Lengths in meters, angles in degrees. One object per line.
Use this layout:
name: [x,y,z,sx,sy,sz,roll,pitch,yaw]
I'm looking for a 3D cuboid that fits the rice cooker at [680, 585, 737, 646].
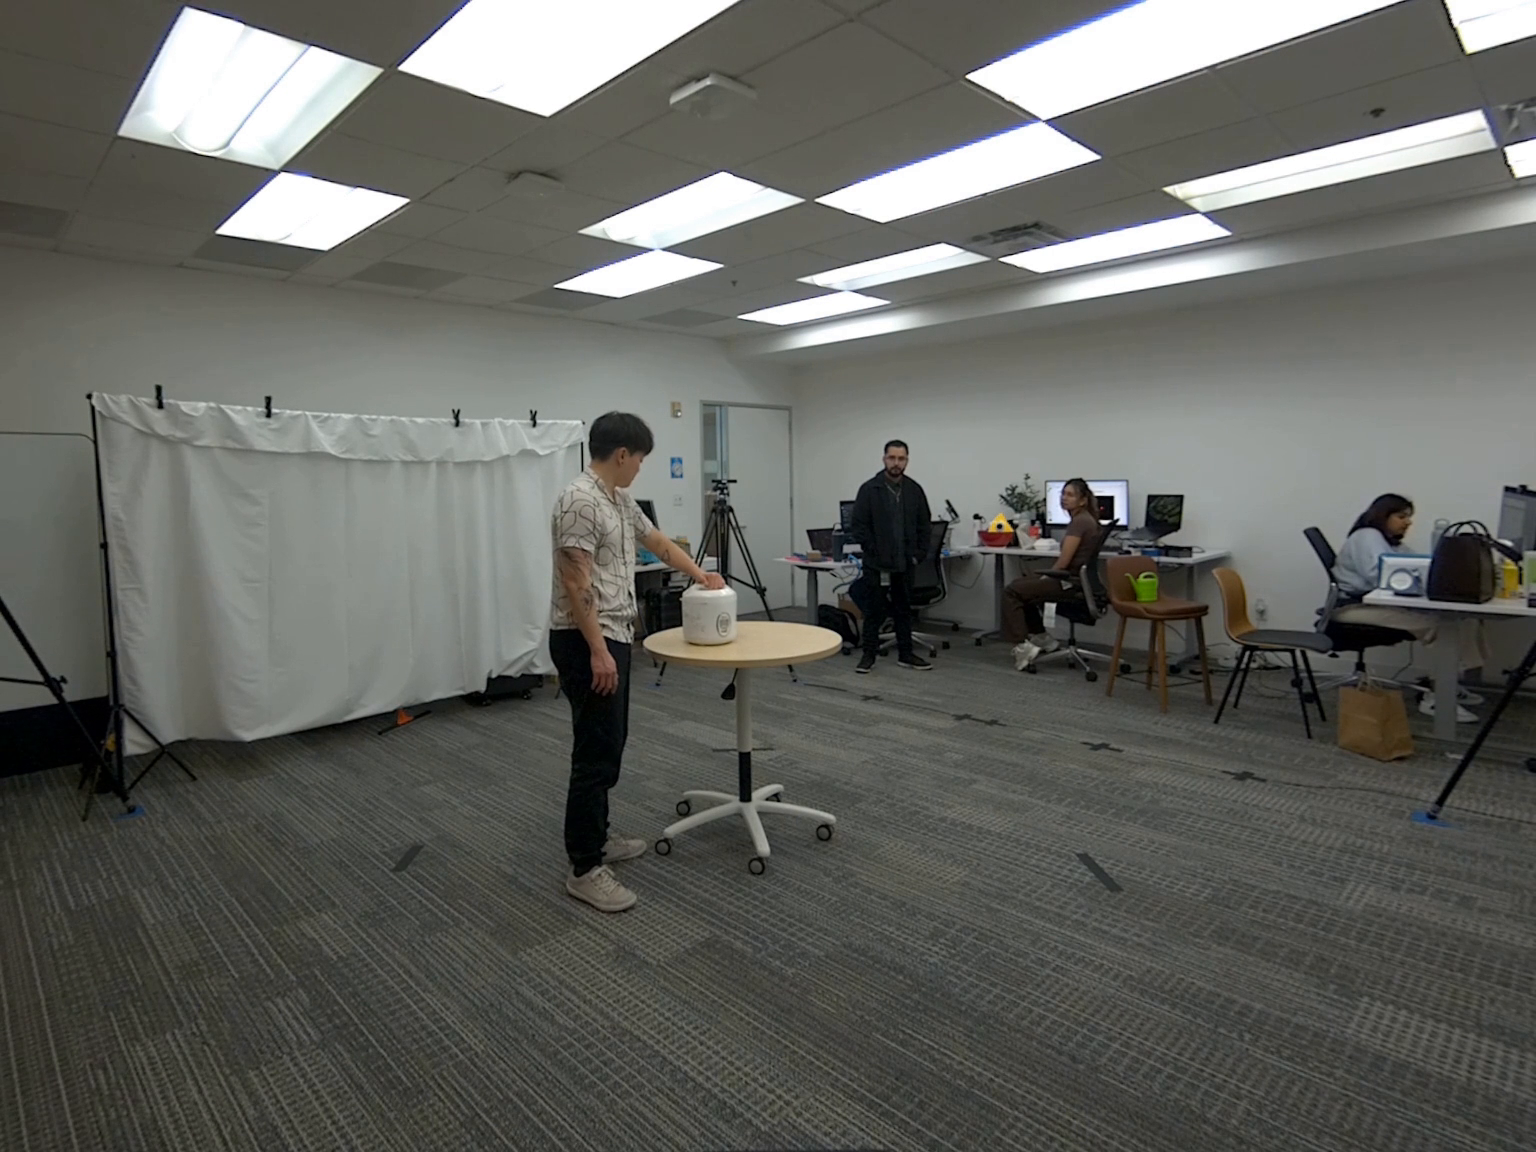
rice cooker: [-0.220,0.135,3.266,0.215,0.232,0.223,-4,4,-32]
